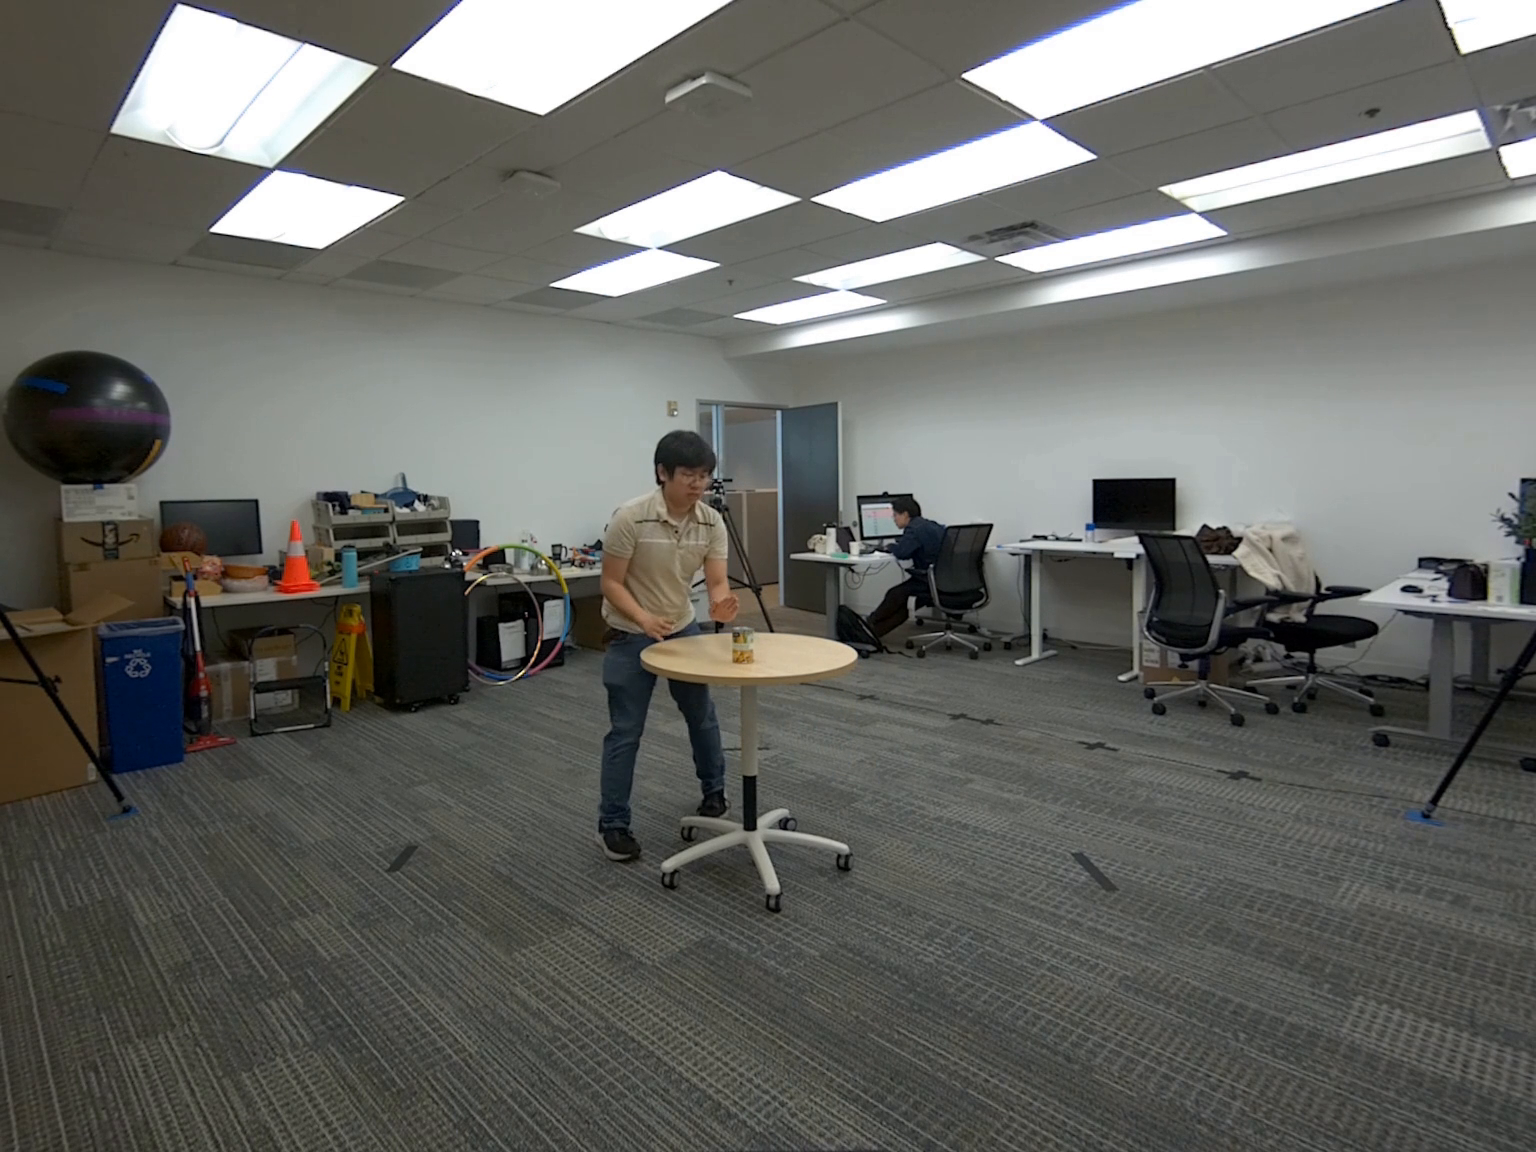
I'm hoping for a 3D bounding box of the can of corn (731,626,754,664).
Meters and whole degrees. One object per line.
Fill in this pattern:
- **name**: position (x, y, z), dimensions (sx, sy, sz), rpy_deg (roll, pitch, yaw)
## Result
- **can of corn**: position (-0.077, 0.232, 2.869), dimensions (0.074, 0.110, 0.075), rpy_deg (-2, 6, -1)
